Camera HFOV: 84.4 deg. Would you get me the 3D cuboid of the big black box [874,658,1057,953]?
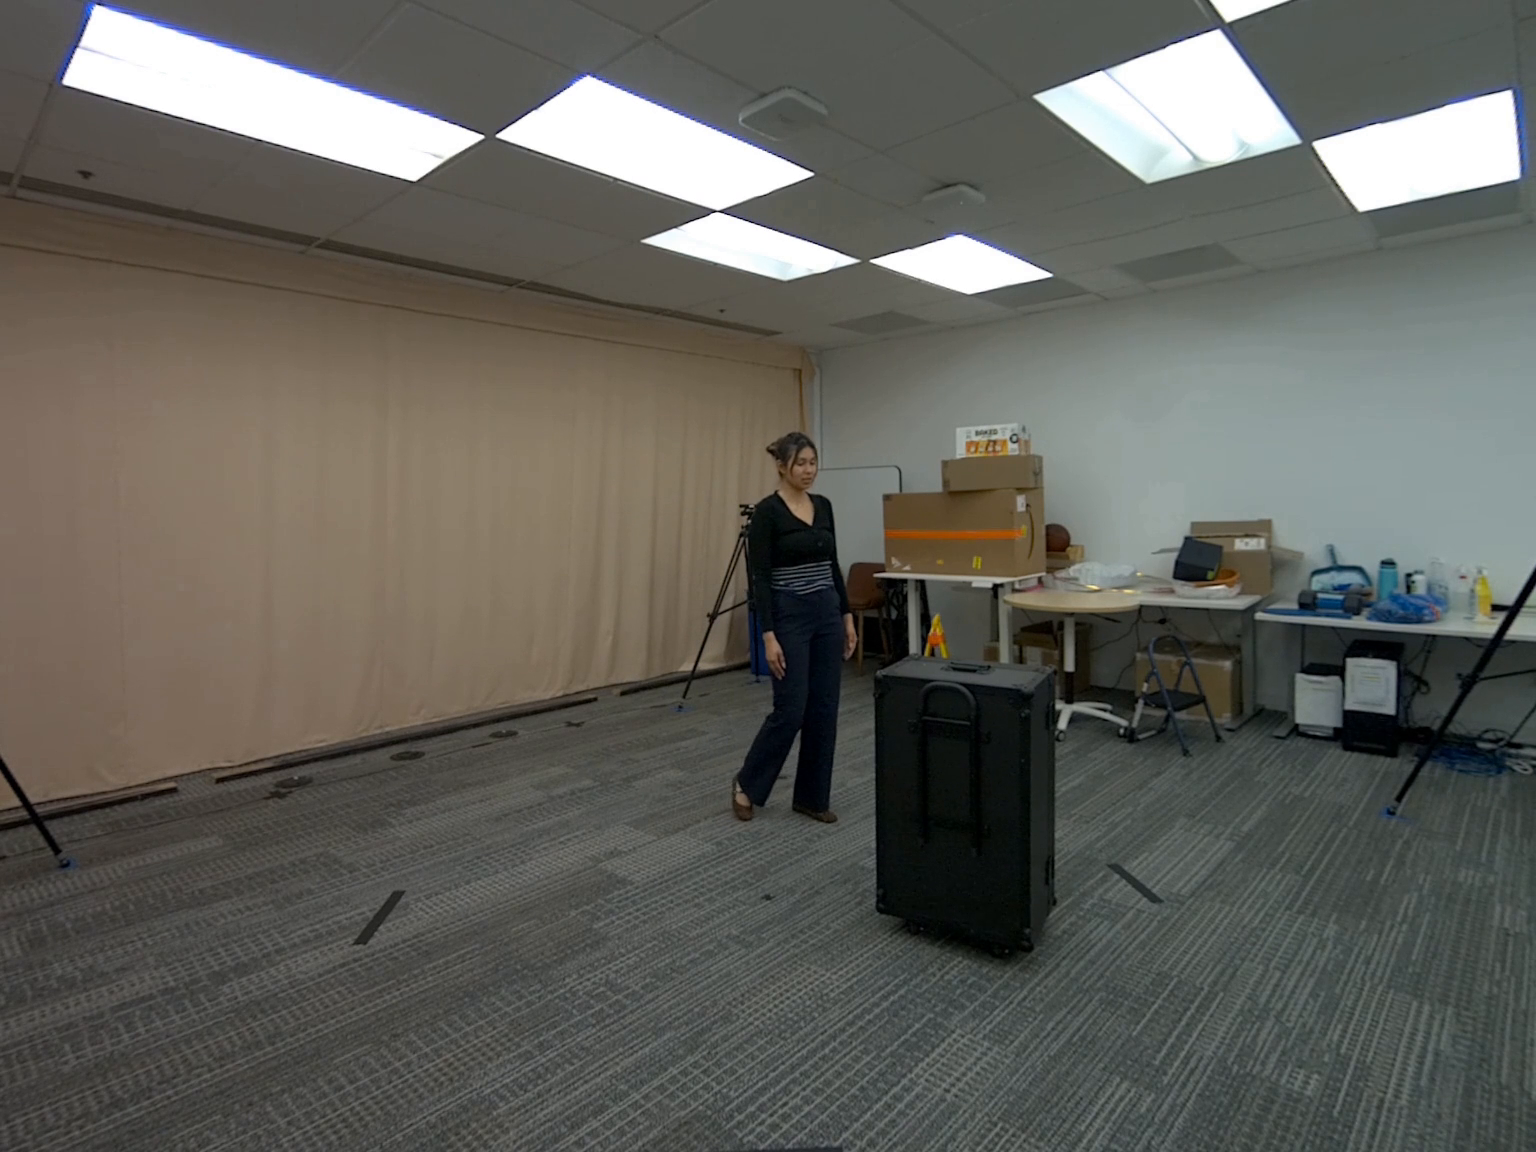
[{"bbox_3d":[0.649,0.732,2.698,0.536,0.859,0.386,1,5,31],"label":"big black box"}]
